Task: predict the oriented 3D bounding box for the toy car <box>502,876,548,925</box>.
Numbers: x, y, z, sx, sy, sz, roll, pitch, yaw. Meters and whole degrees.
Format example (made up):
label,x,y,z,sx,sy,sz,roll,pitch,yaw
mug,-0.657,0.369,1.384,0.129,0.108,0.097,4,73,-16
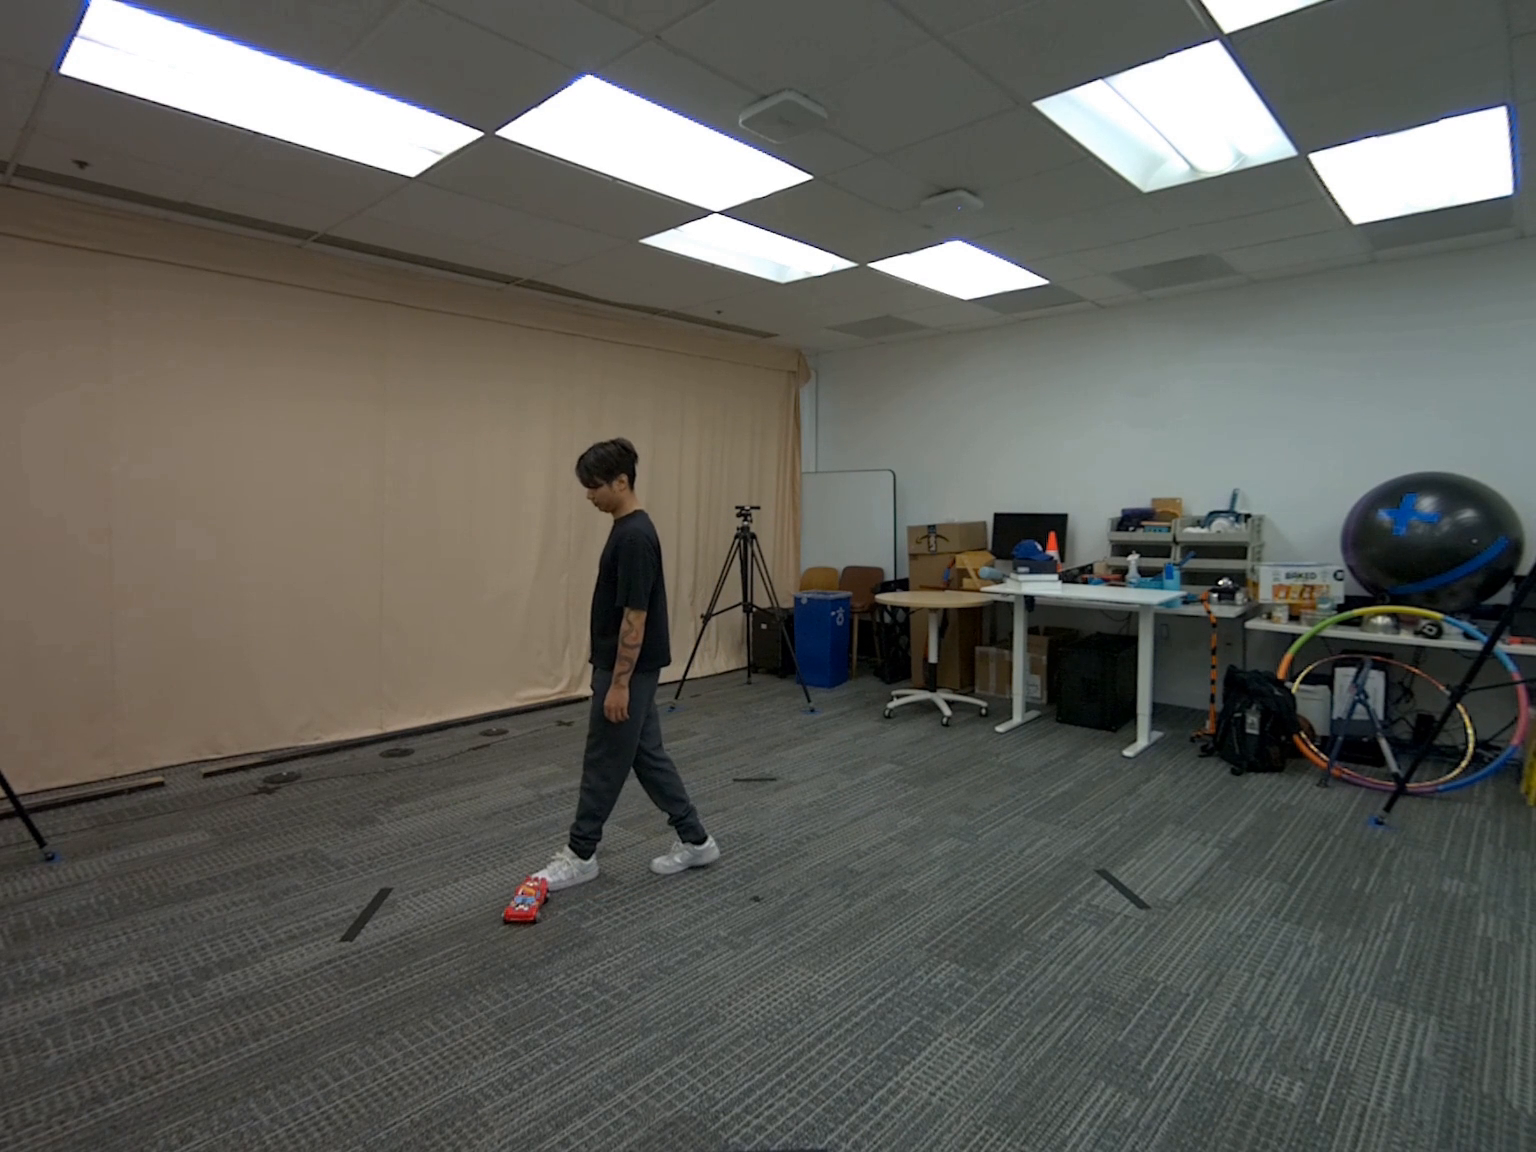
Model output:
label,x,y,z,sx,sy,sz,roll,pitch,yaw
toy car,-0.832,1.120,2.918,0.130,0.082,0.257,-1,15,-3
